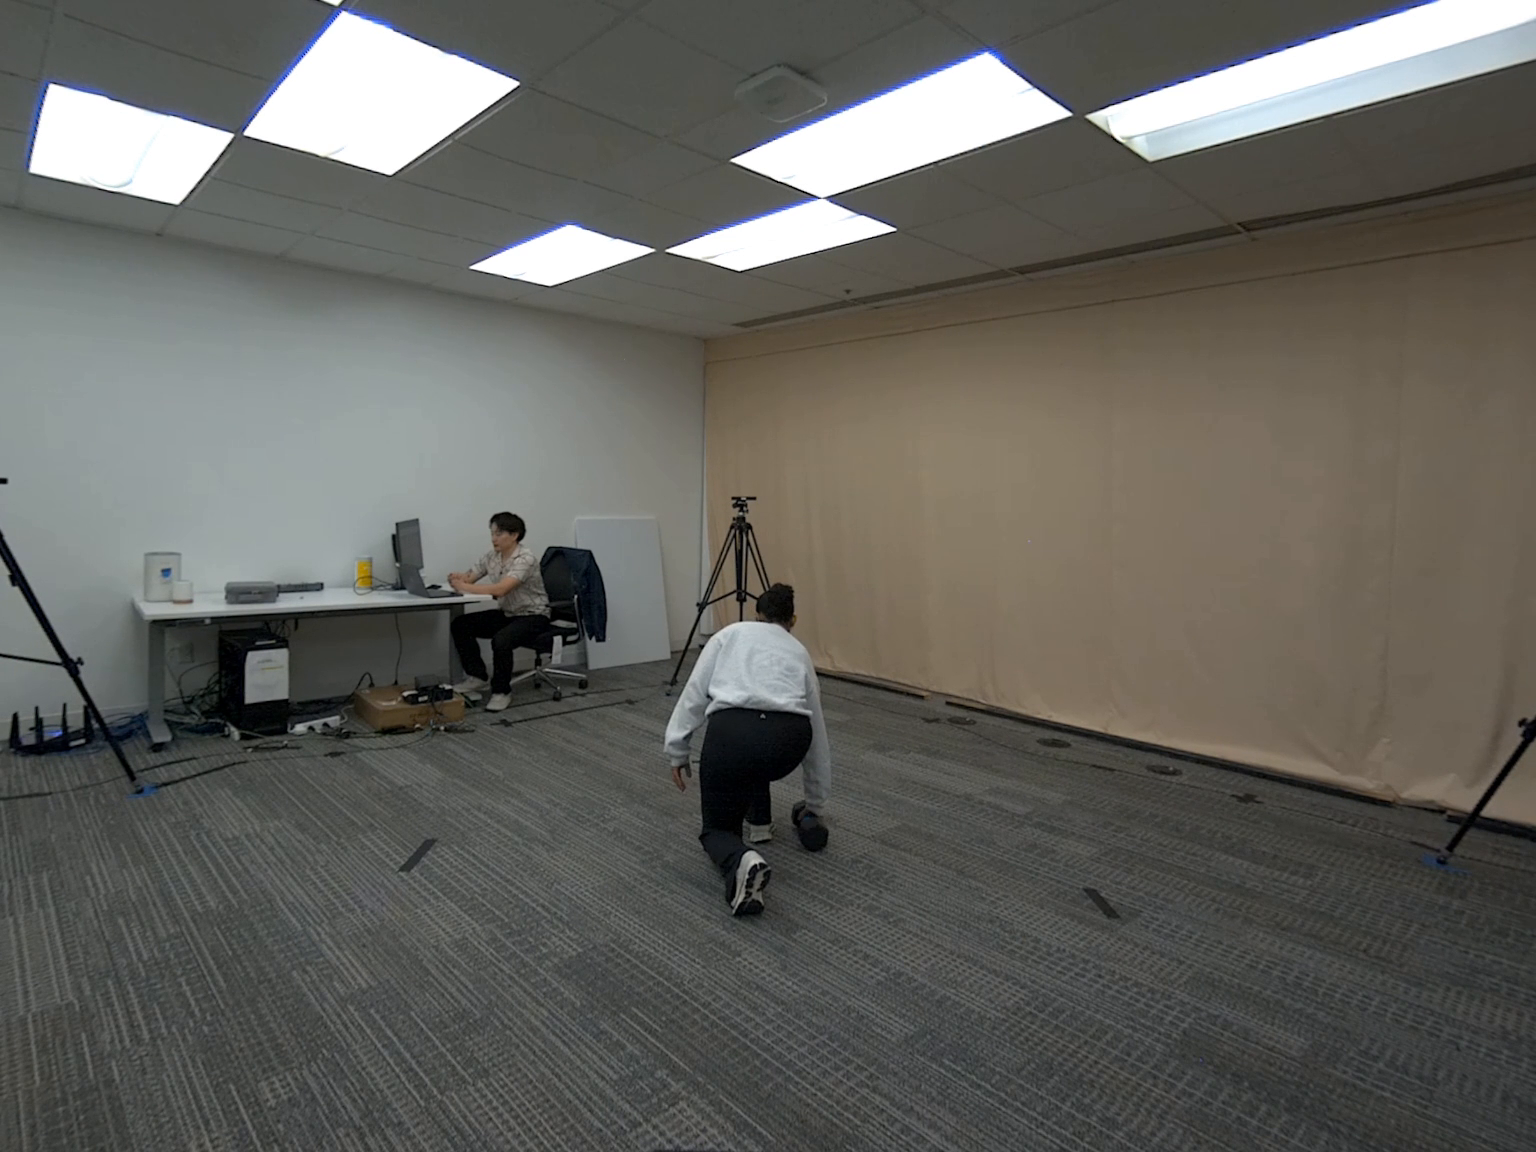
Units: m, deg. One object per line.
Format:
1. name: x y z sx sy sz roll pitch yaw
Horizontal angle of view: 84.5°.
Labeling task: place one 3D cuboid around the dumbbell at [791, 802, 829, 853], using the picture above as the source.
1. dumbbell: 0.164 1.018 3.455 0.122 0.109 0.295 39 0 -8
